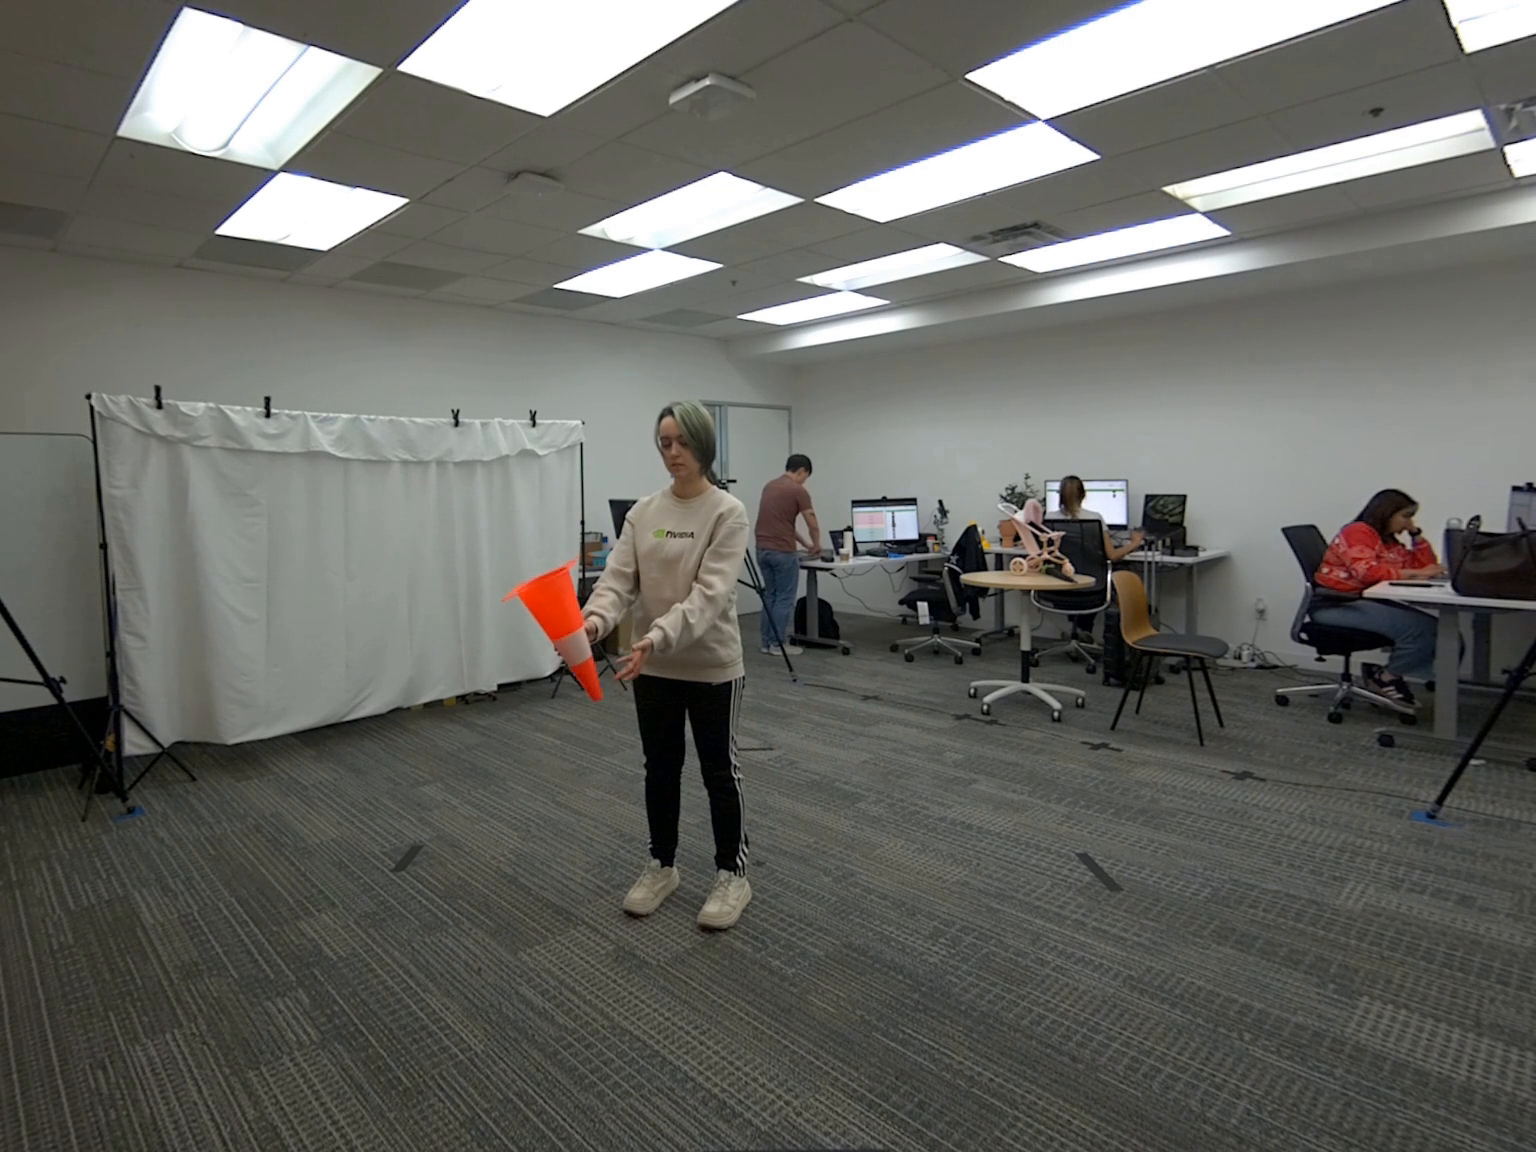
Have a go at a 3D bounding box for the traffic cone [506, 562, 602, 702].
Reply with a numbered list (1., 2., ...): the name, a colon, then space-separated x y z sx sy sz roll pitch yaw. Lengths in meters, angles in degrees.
1. traffic cone: -0.556 0.185 2.394 0.203 0.379 0.207 -24 11 1
